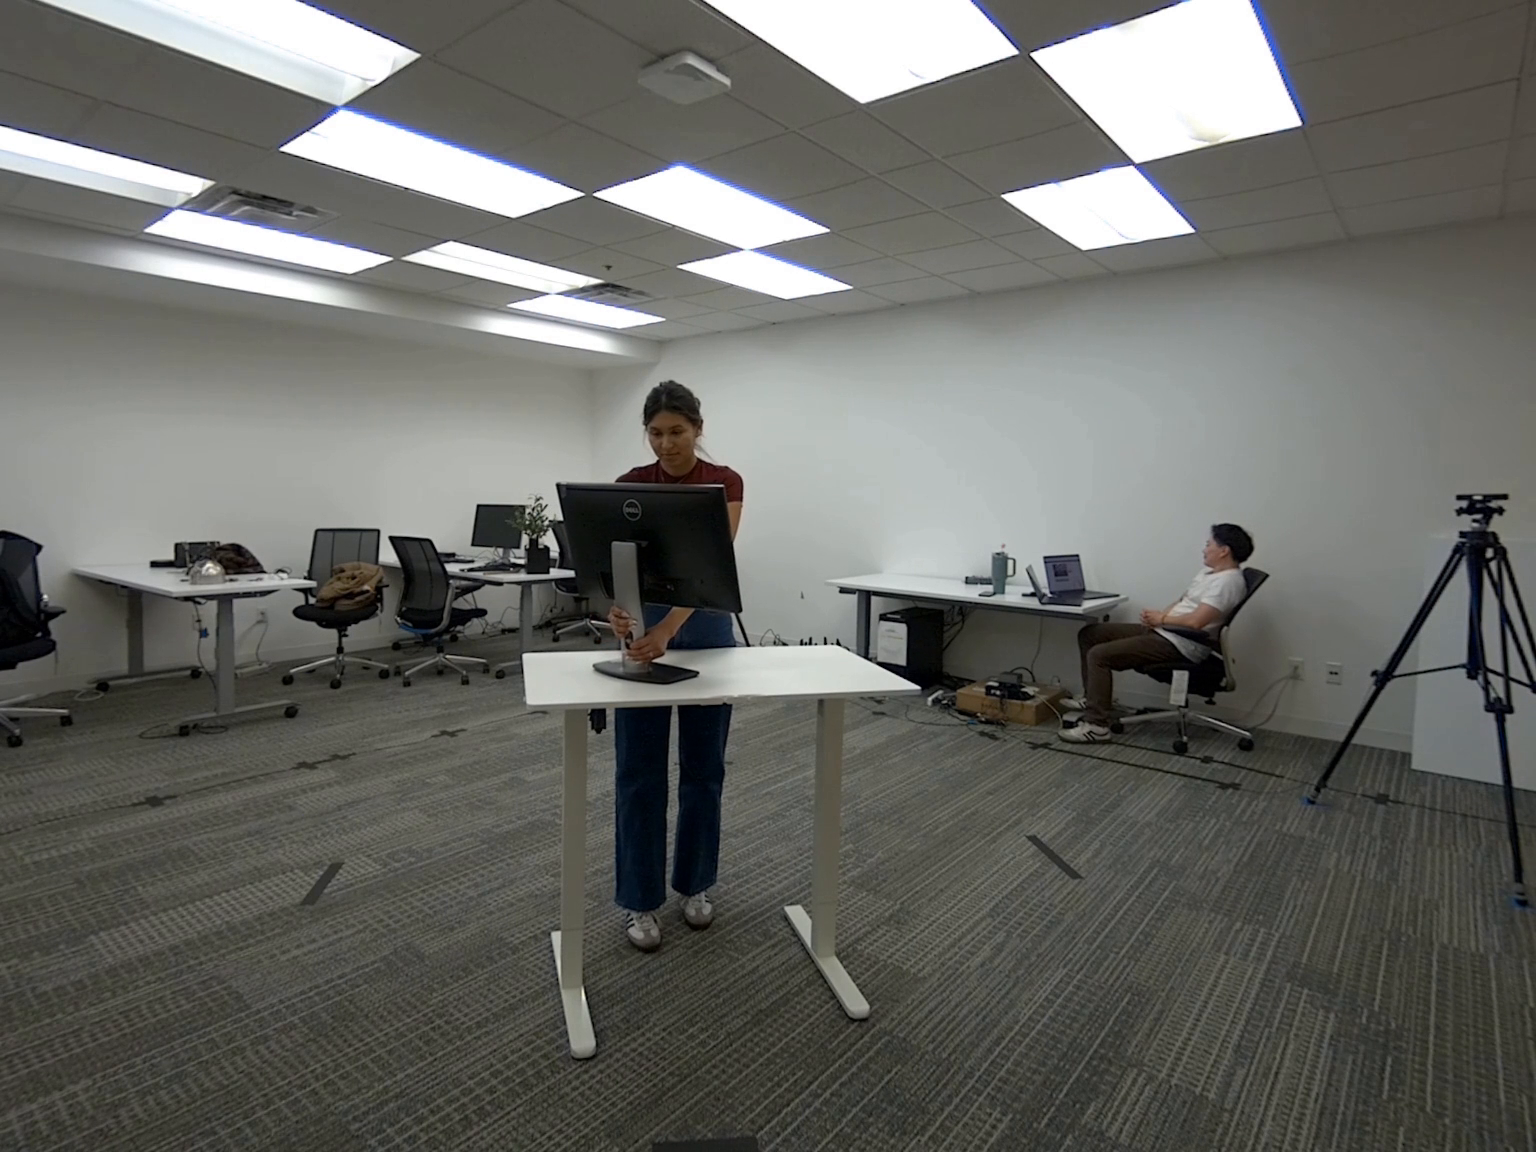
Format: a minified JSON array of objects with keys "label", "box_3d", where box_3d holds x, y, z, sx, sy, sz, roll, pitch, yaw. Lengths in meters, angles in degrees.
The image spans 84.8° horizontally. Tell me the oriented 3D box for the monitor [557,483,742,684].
[{"label":"monitor","box_3d":[-0.361,0.009,2.288,0.554,0.519,0.183,3,7,27]}]
